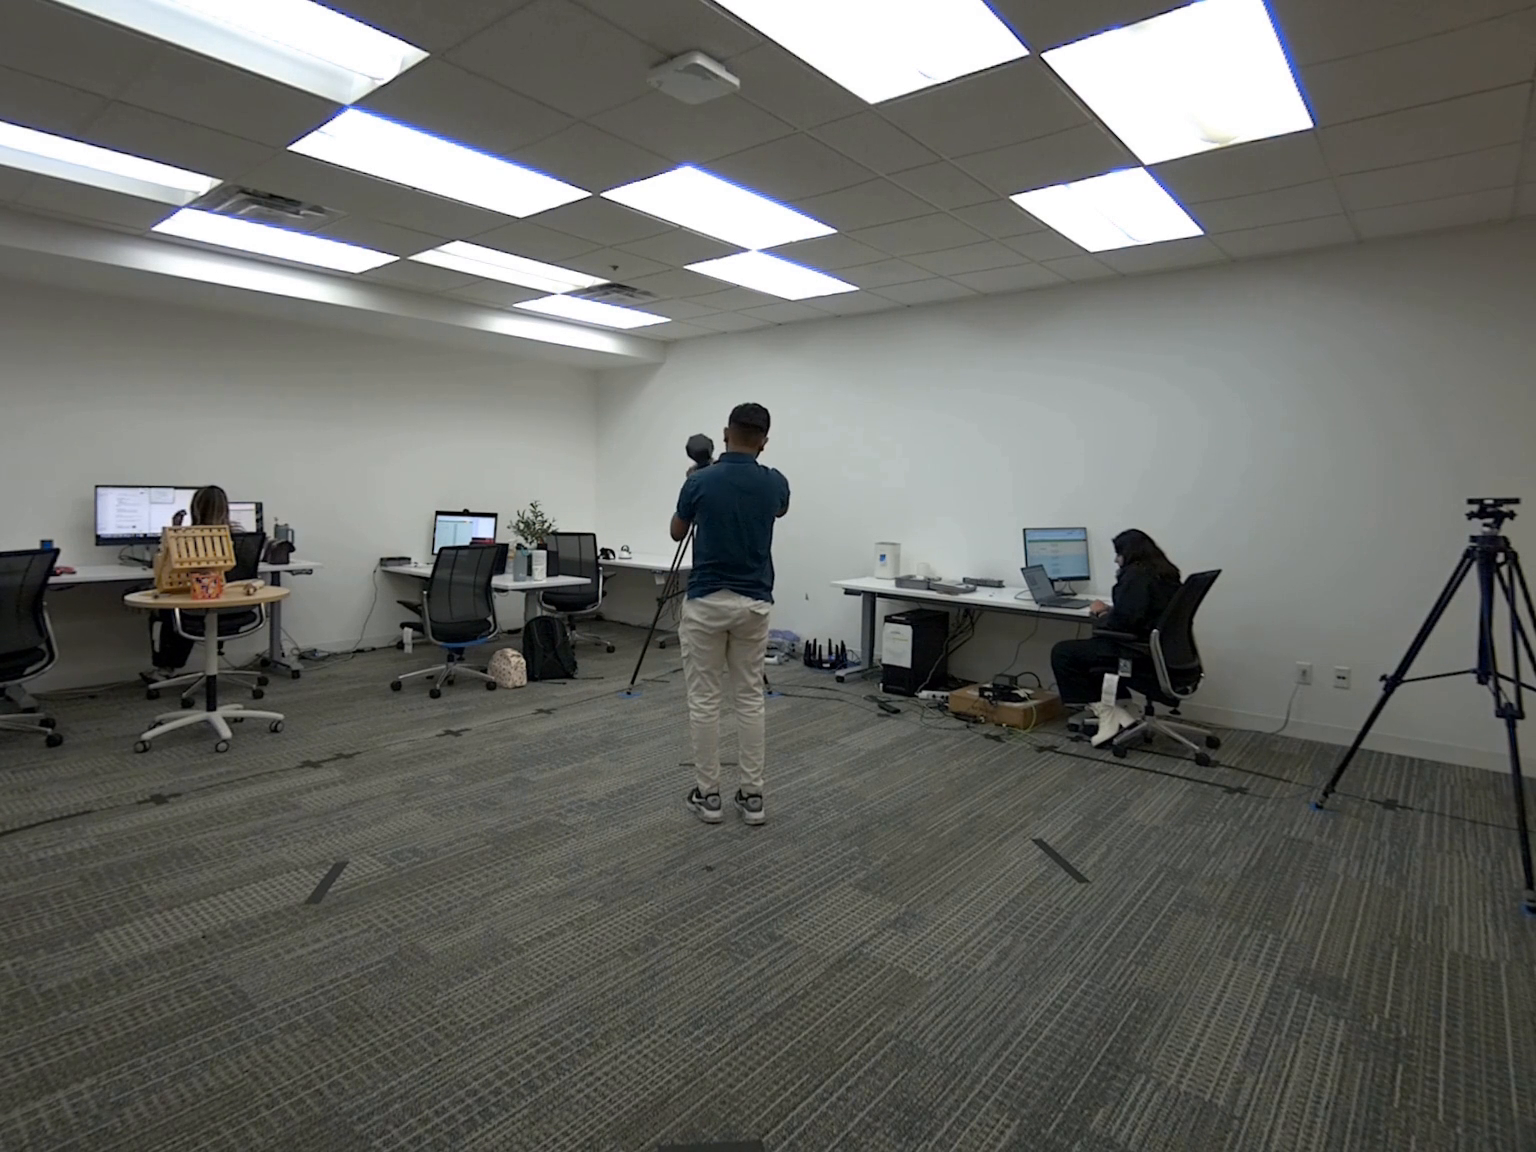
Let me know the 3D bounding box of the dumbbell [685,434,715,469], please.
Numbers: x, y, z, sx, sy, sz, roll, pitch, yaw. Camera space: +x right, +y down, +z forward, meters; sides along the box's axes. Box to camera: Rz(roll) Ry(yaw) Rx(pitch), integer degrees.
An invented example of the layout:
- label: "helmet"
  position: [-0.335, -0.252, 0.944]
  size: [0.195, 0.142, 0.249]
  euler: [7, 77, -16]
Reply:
- label: "dumbbell"
  position: [-0.295, -0.499, 3.778]
  size: [0.127, 0.108, 0.284]
  euler: [39, -22, 29]
